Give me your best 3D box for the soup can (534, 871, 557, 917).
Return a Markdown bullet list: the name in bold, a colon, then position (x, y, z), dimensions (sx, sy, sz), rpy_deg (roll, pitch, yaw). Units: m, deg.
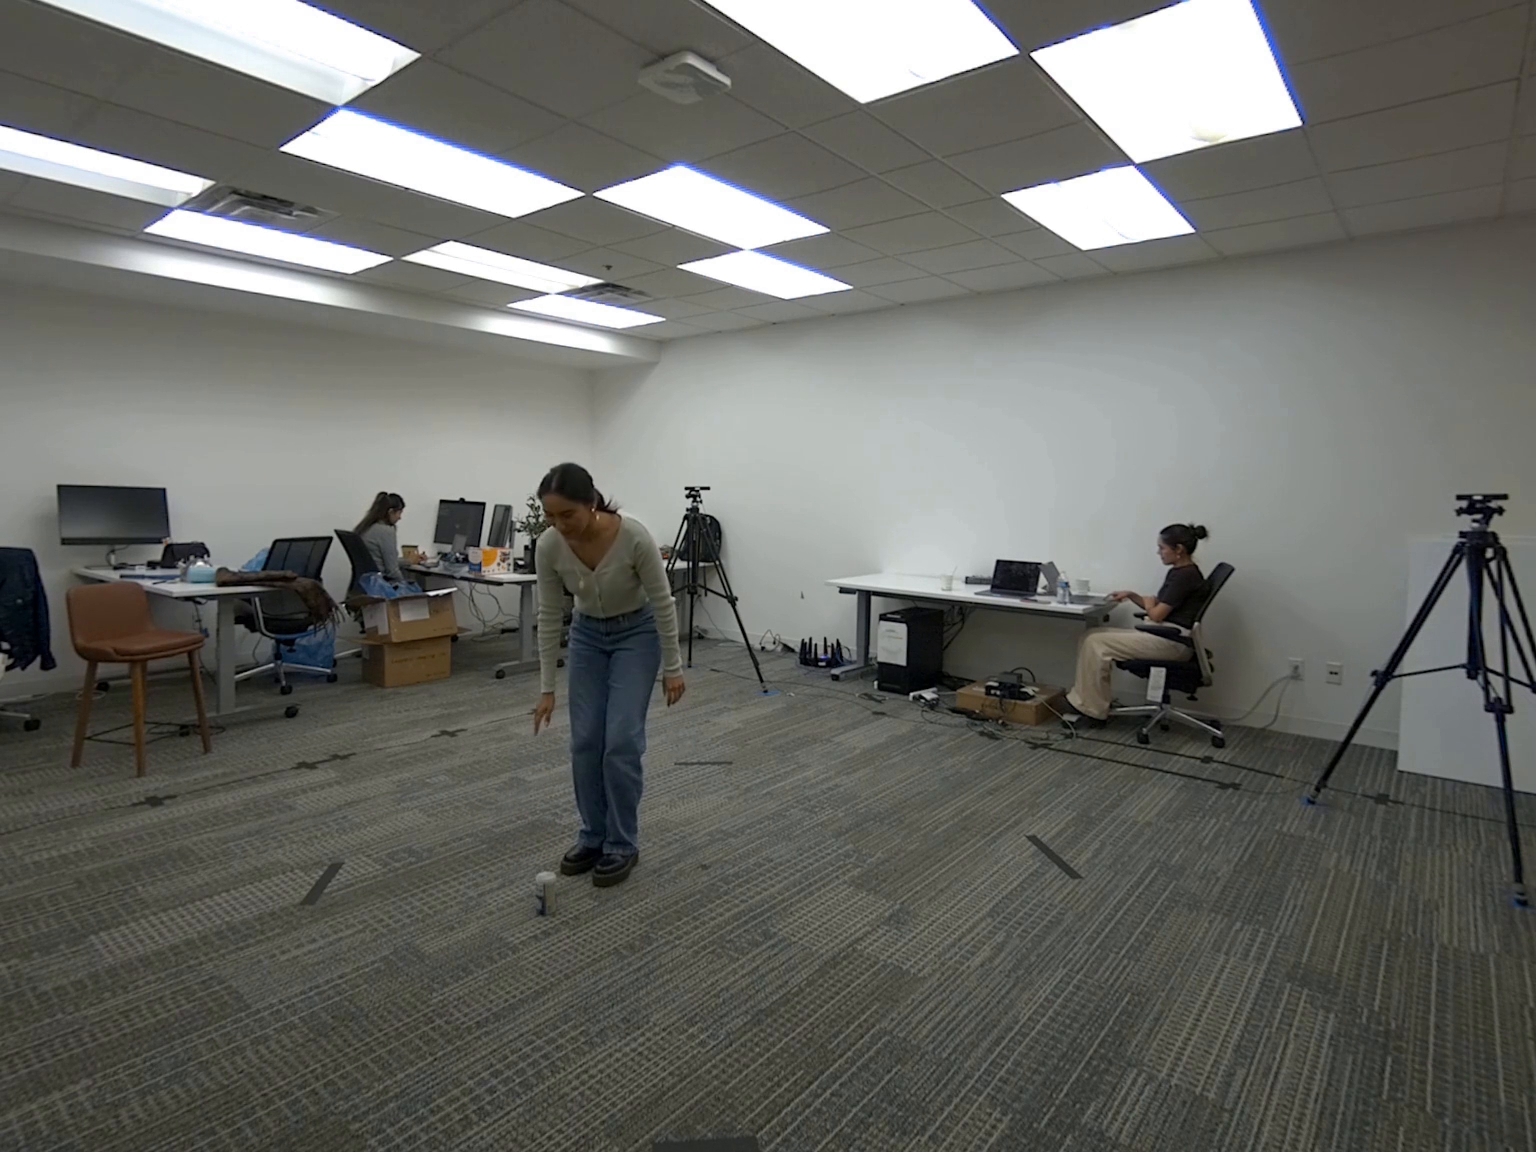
- **soup can**: position (-0.742, 1.033, 2.771), dimensions (0.067, 0.121, 0.067), rpy_deg (-2, 6, -2)
